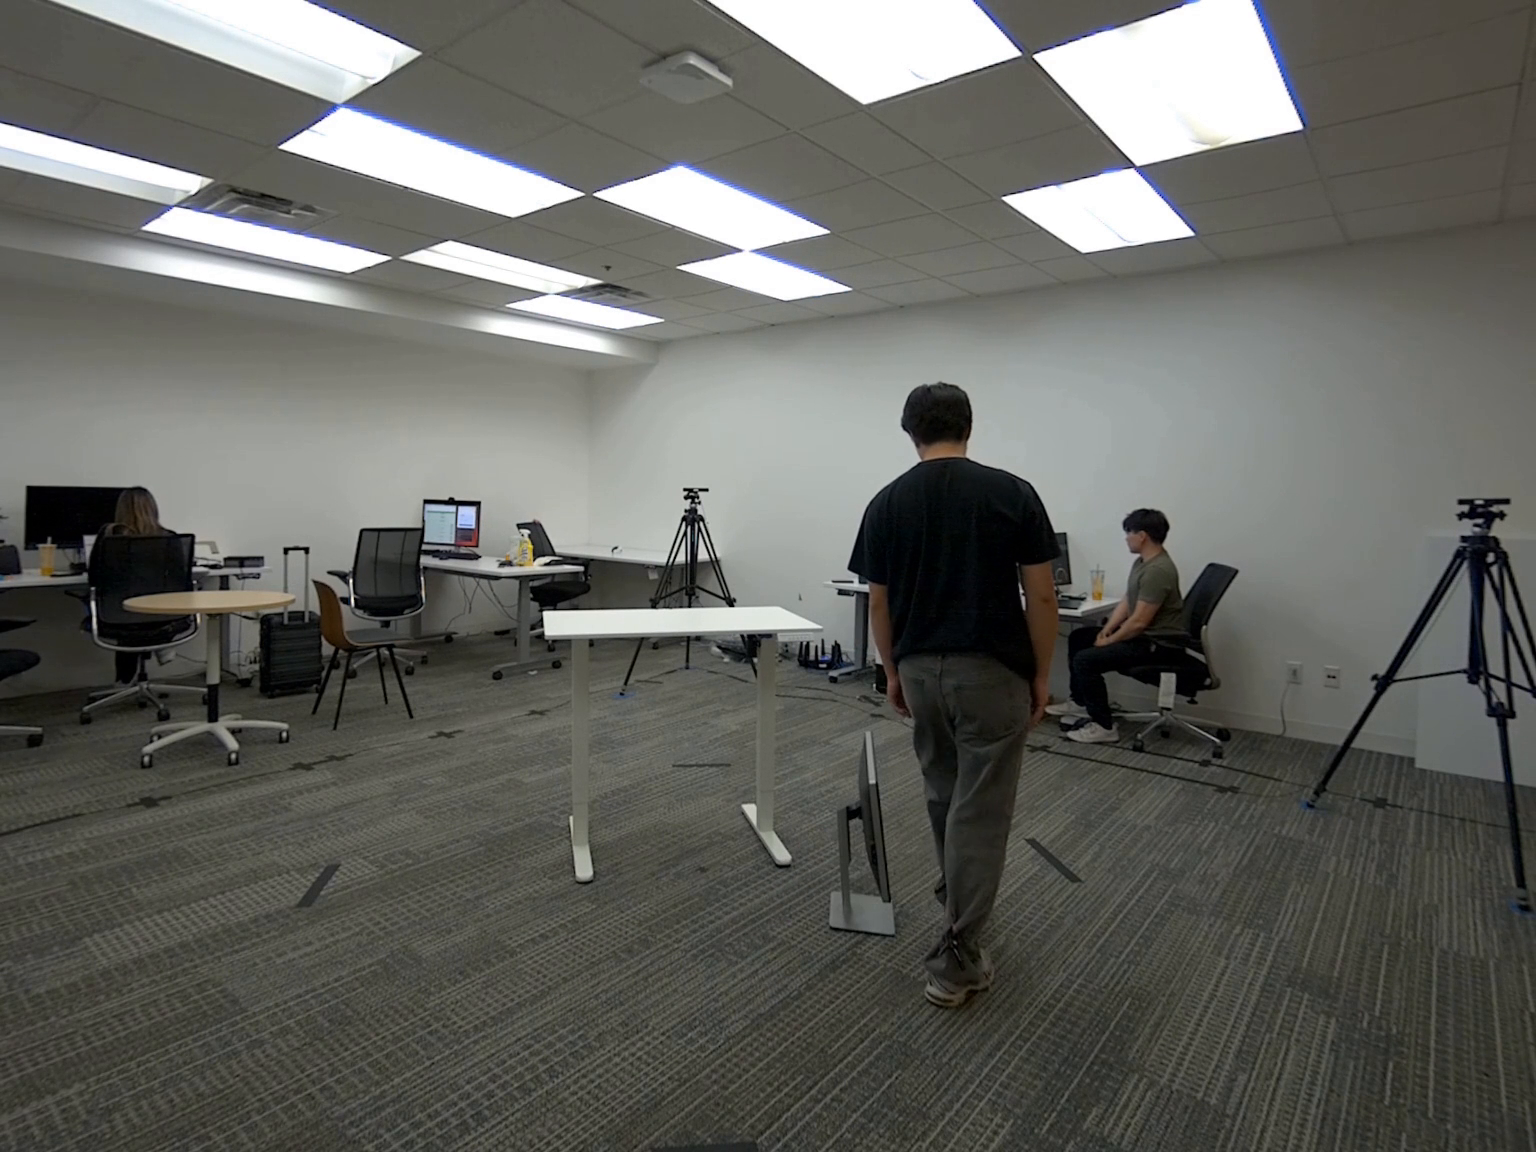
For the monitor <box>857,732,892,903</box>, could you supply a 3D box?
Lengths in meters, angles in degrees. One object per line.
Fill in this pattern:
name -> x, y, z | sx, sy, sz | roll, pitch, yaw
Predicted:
monitor -> 0.315, 0.855, 2.789 | 0.224, 0.564, 0.558 | 6, 5, 7
